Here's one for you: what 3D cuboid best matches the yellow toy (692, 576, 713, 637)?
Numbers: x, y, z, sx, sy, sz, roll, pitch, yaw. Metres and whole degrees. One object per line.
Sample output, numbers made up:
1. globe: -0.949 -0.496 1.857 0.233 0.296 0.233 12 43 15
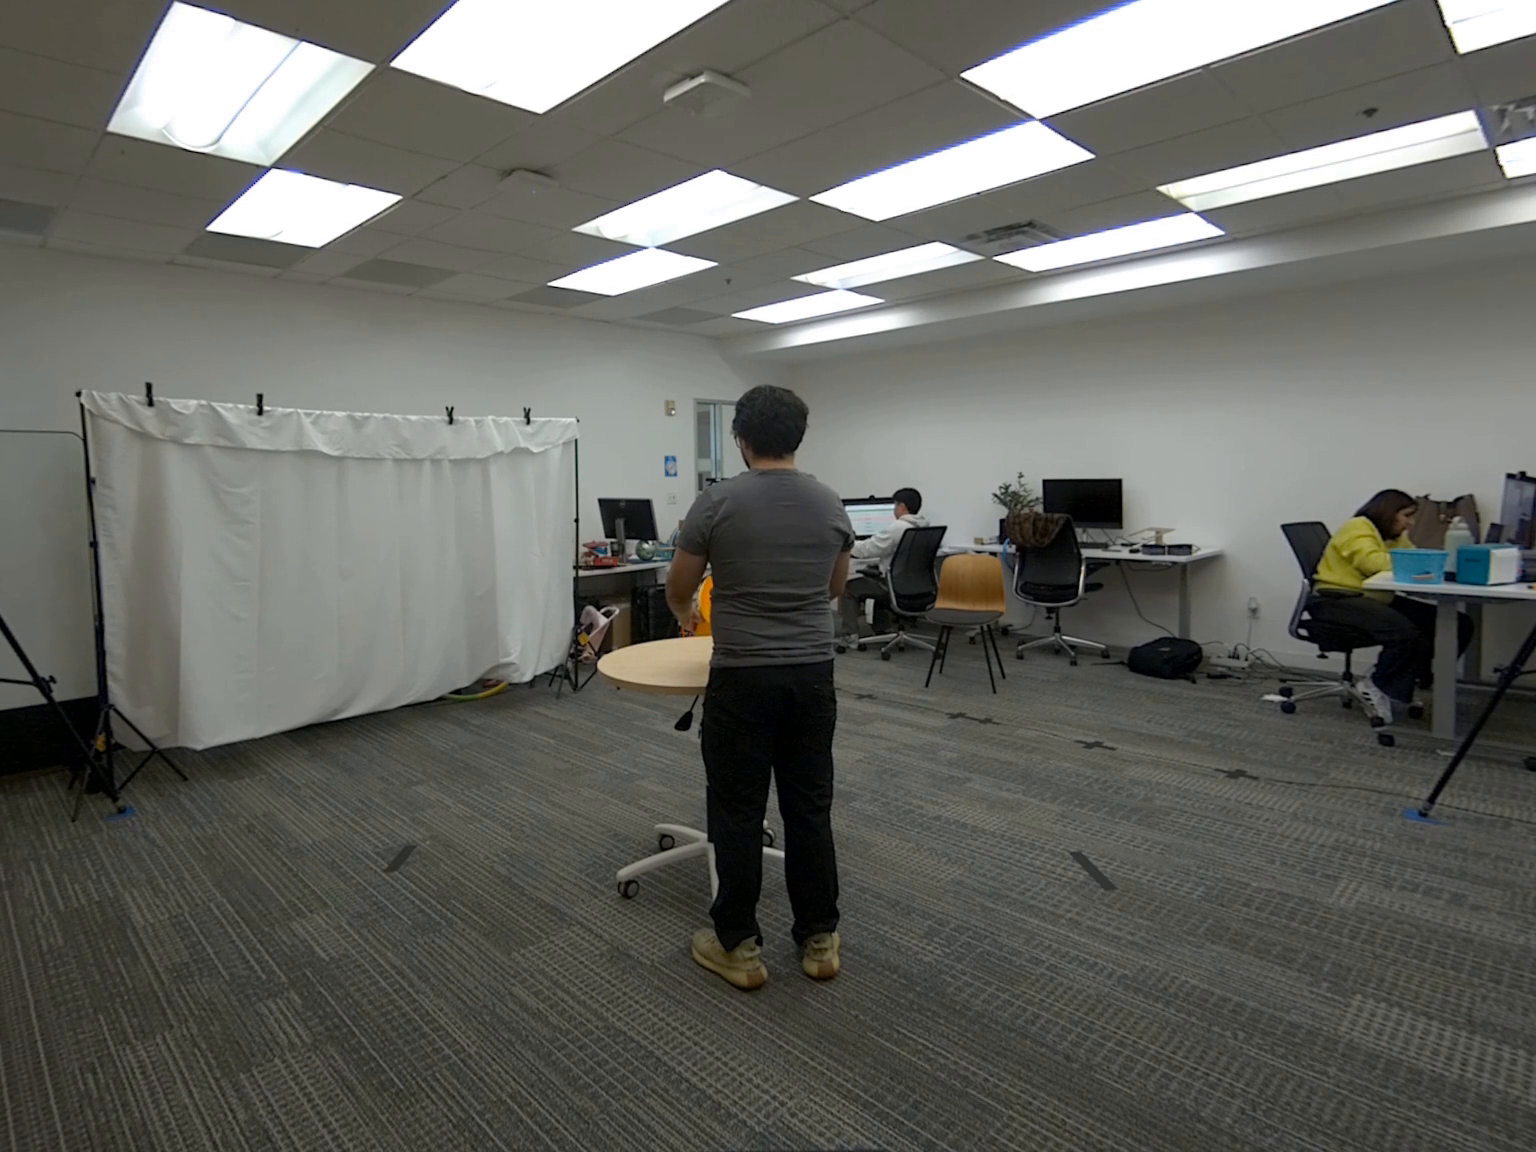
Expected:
1. yellow toy: -0.161 0.103 2.815 0.201 0.194 0.233 -4 -7 -23
